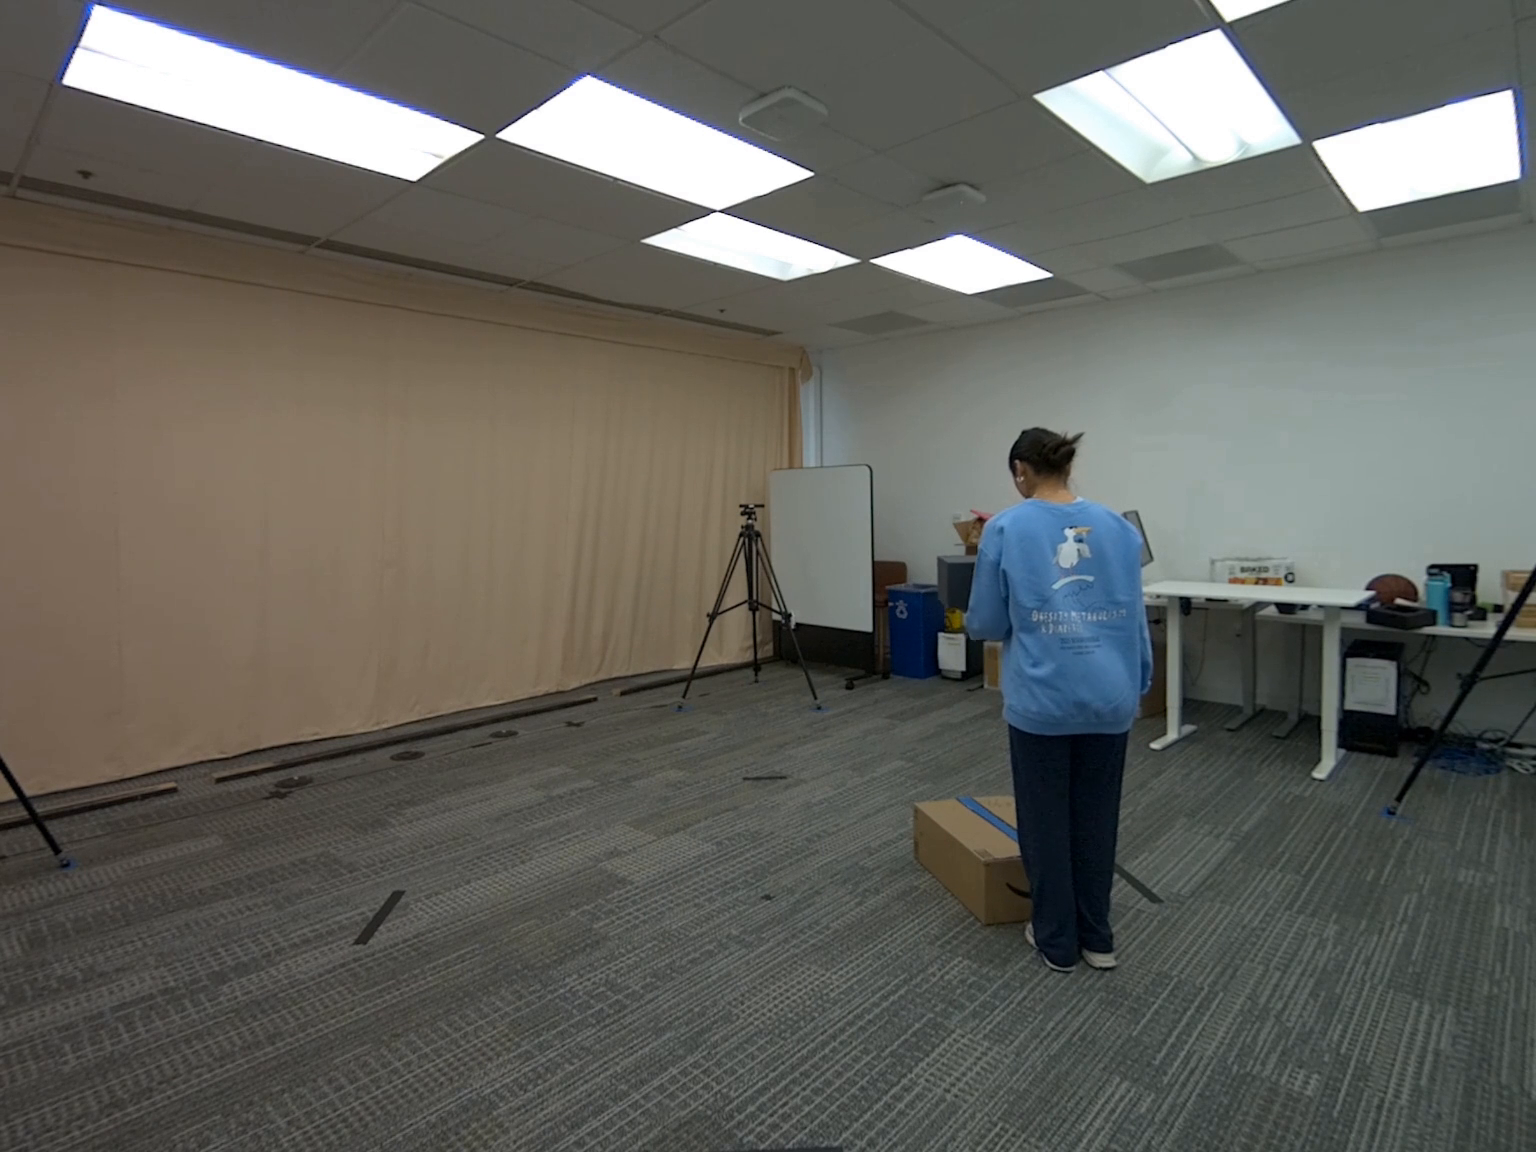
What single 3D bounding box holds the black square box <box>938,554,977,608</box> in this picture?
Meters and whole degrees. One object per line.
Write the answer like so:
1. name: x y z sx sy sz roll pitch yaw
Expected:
1. black square box: 0.712 0.012 2.880 0.218 0.155 0.228 1 6 2
